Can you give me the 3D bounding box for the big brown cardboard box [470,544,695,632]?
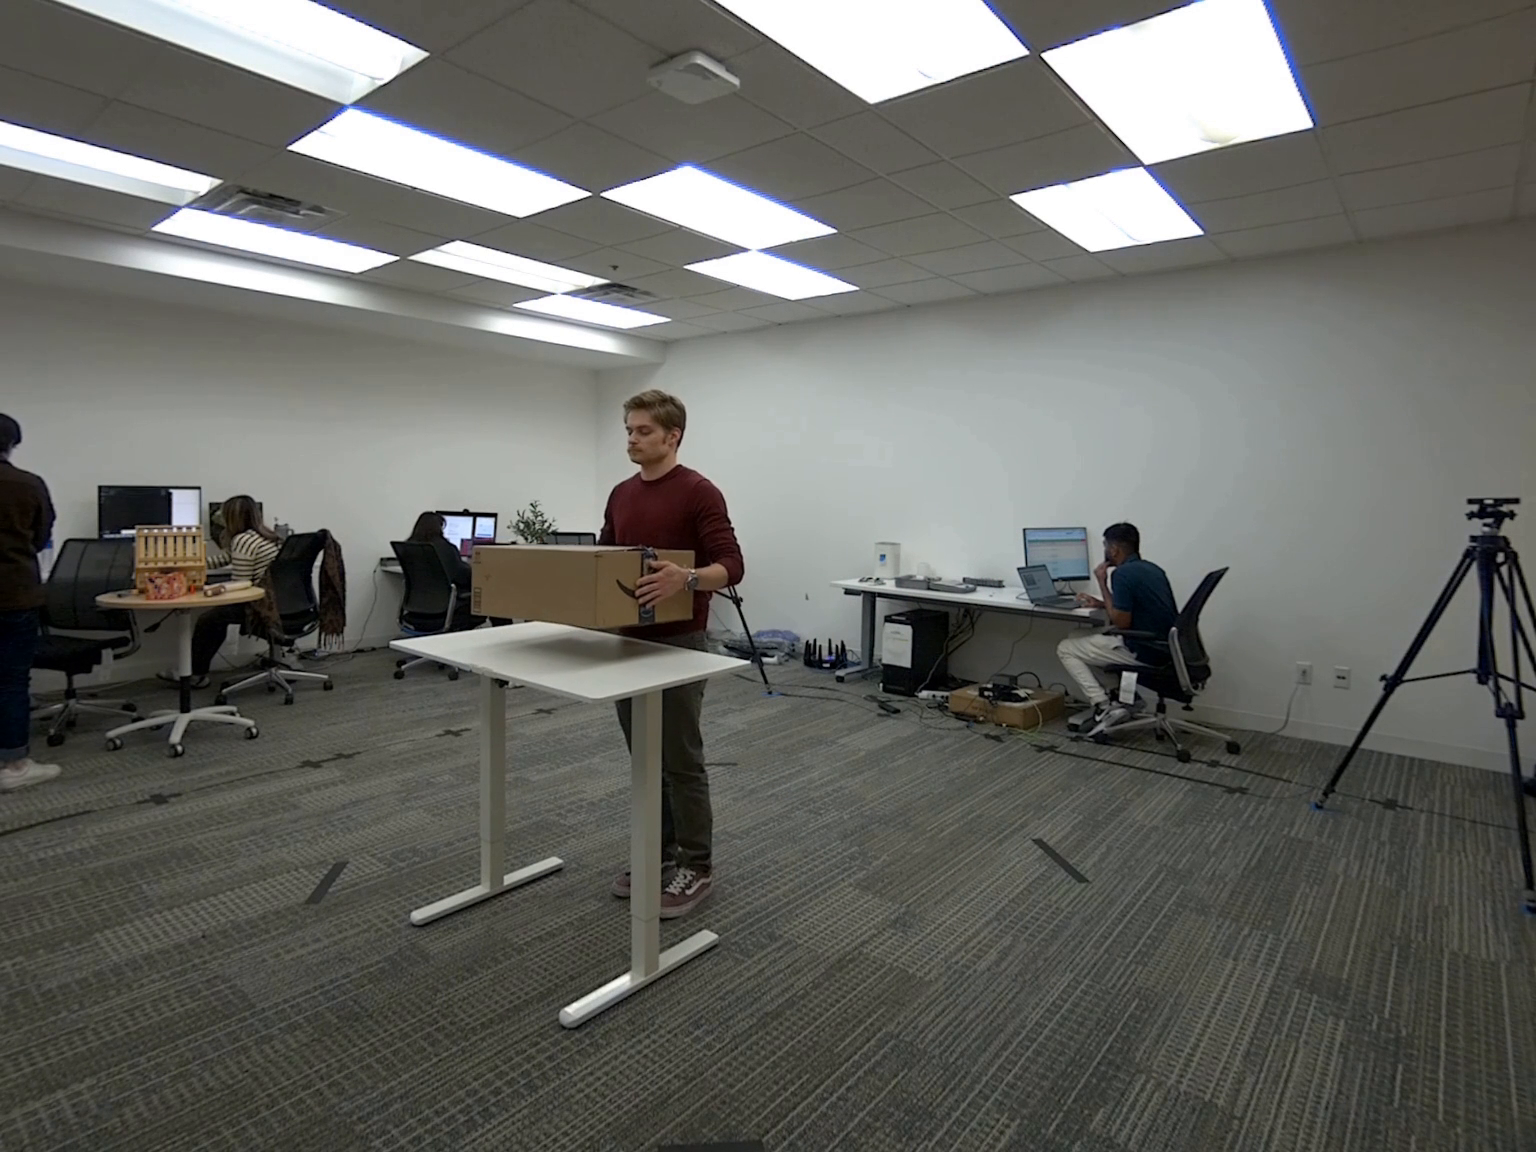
[{"bbox_3d":[-0.587,0.015,2.661,0.607,0.233,0.405,2,2,37],"label":"big brown cardboard box"}]
